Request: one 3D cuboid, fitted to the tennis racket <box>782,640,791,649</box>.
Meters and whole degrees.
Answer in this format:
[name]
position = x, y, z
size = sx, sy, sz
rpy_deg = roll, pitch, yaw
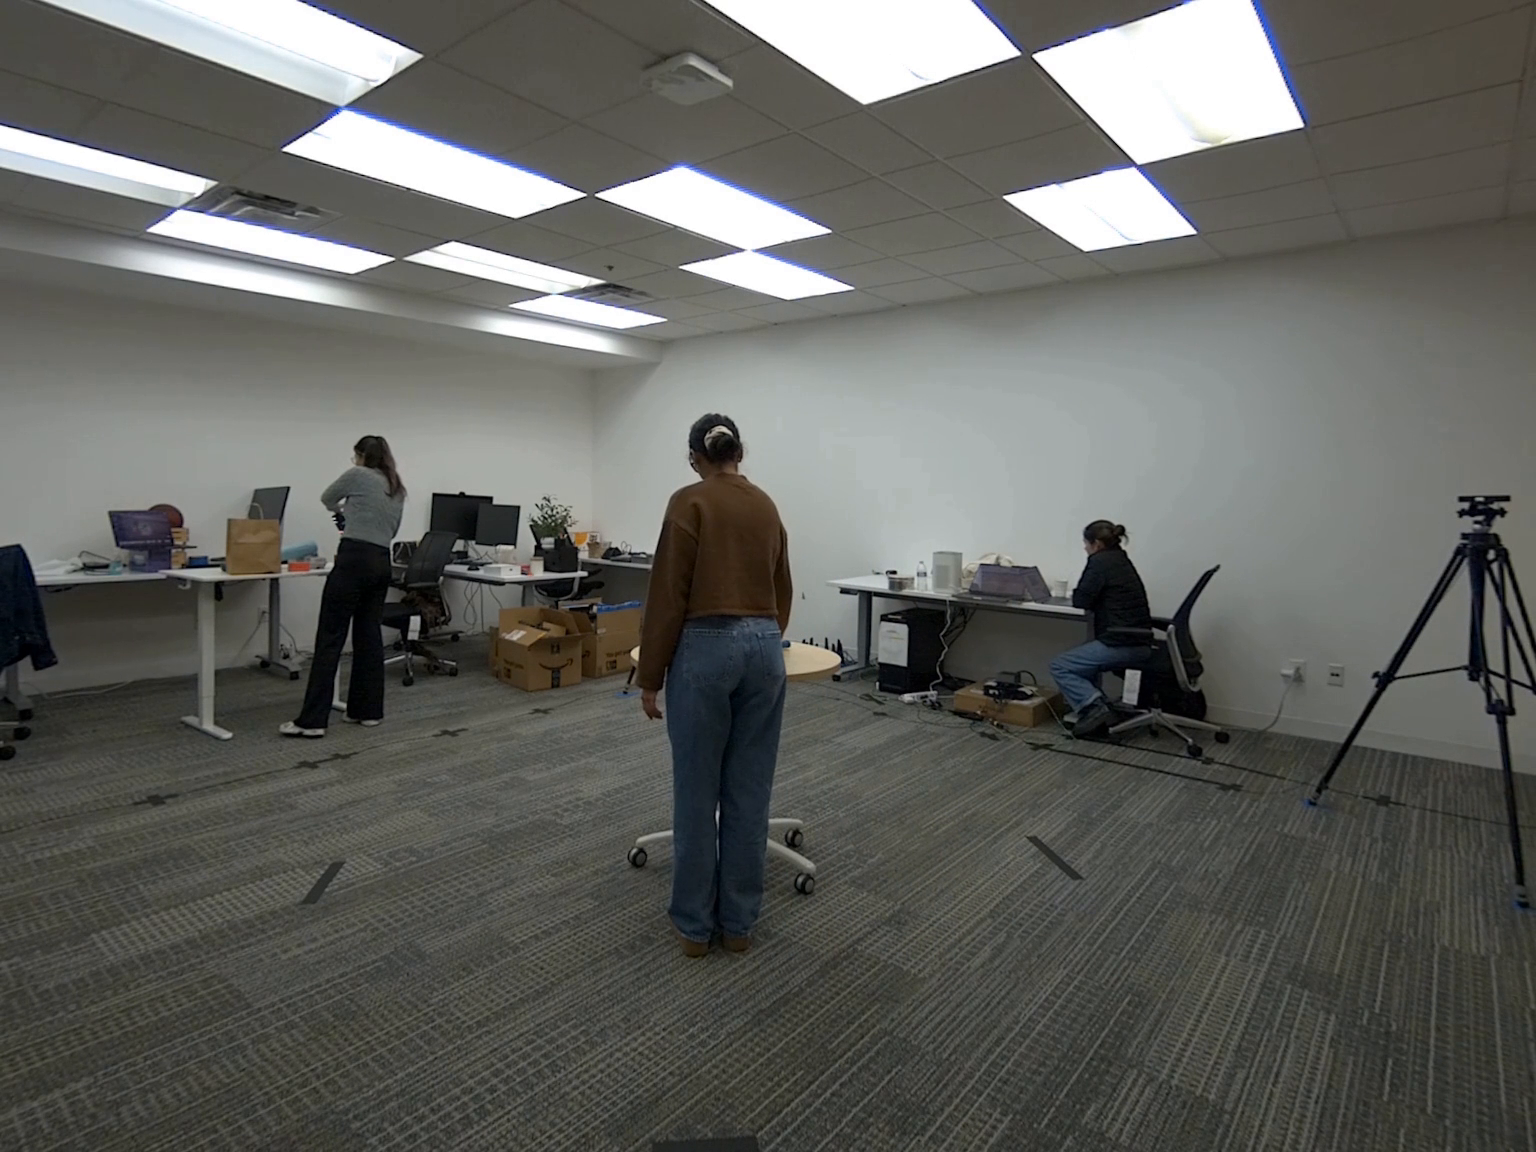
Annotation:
[tennis racket]
position = -0.099, 0.276, 3.105
size = 0.420, 0.031, 0.221
rpy_deg = -4, 7, -37
